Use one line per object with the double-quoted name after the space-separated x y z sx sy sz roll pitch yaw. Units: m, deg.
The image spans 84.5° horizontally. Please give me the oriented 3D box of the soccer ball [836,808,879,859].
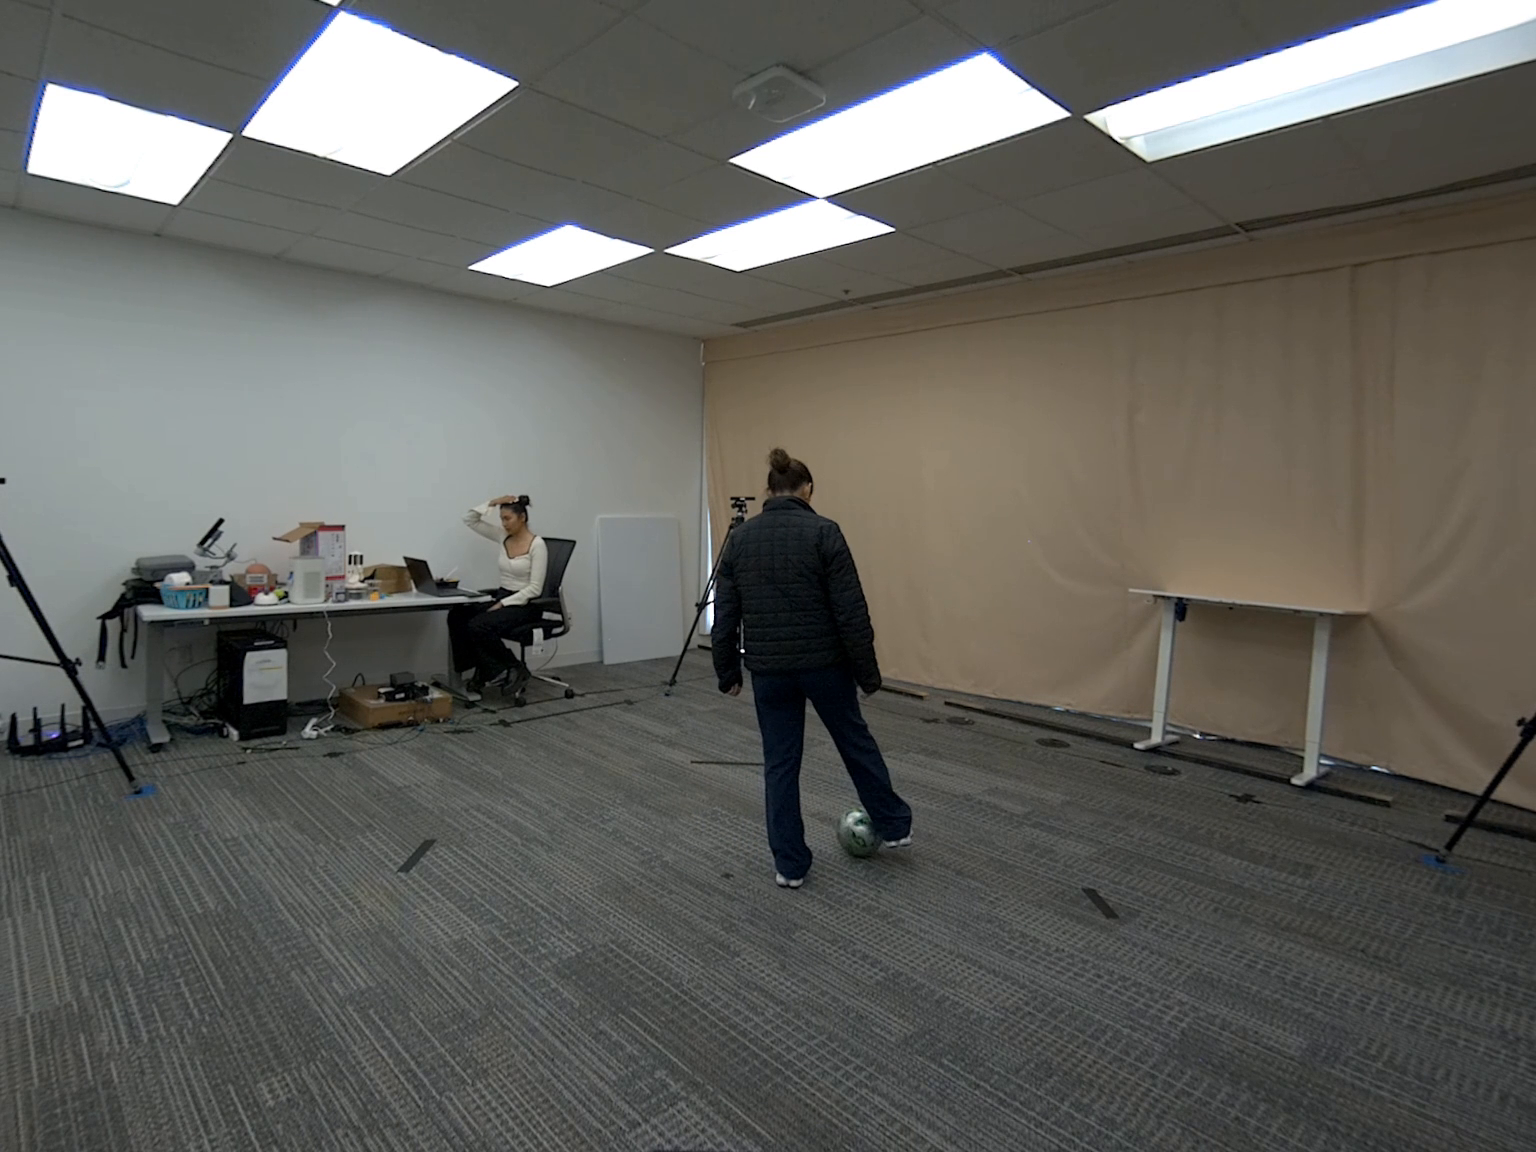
0.346 1.002 3.318 0.187 0.187 0.188 1 4 -1 "soccer ball"
